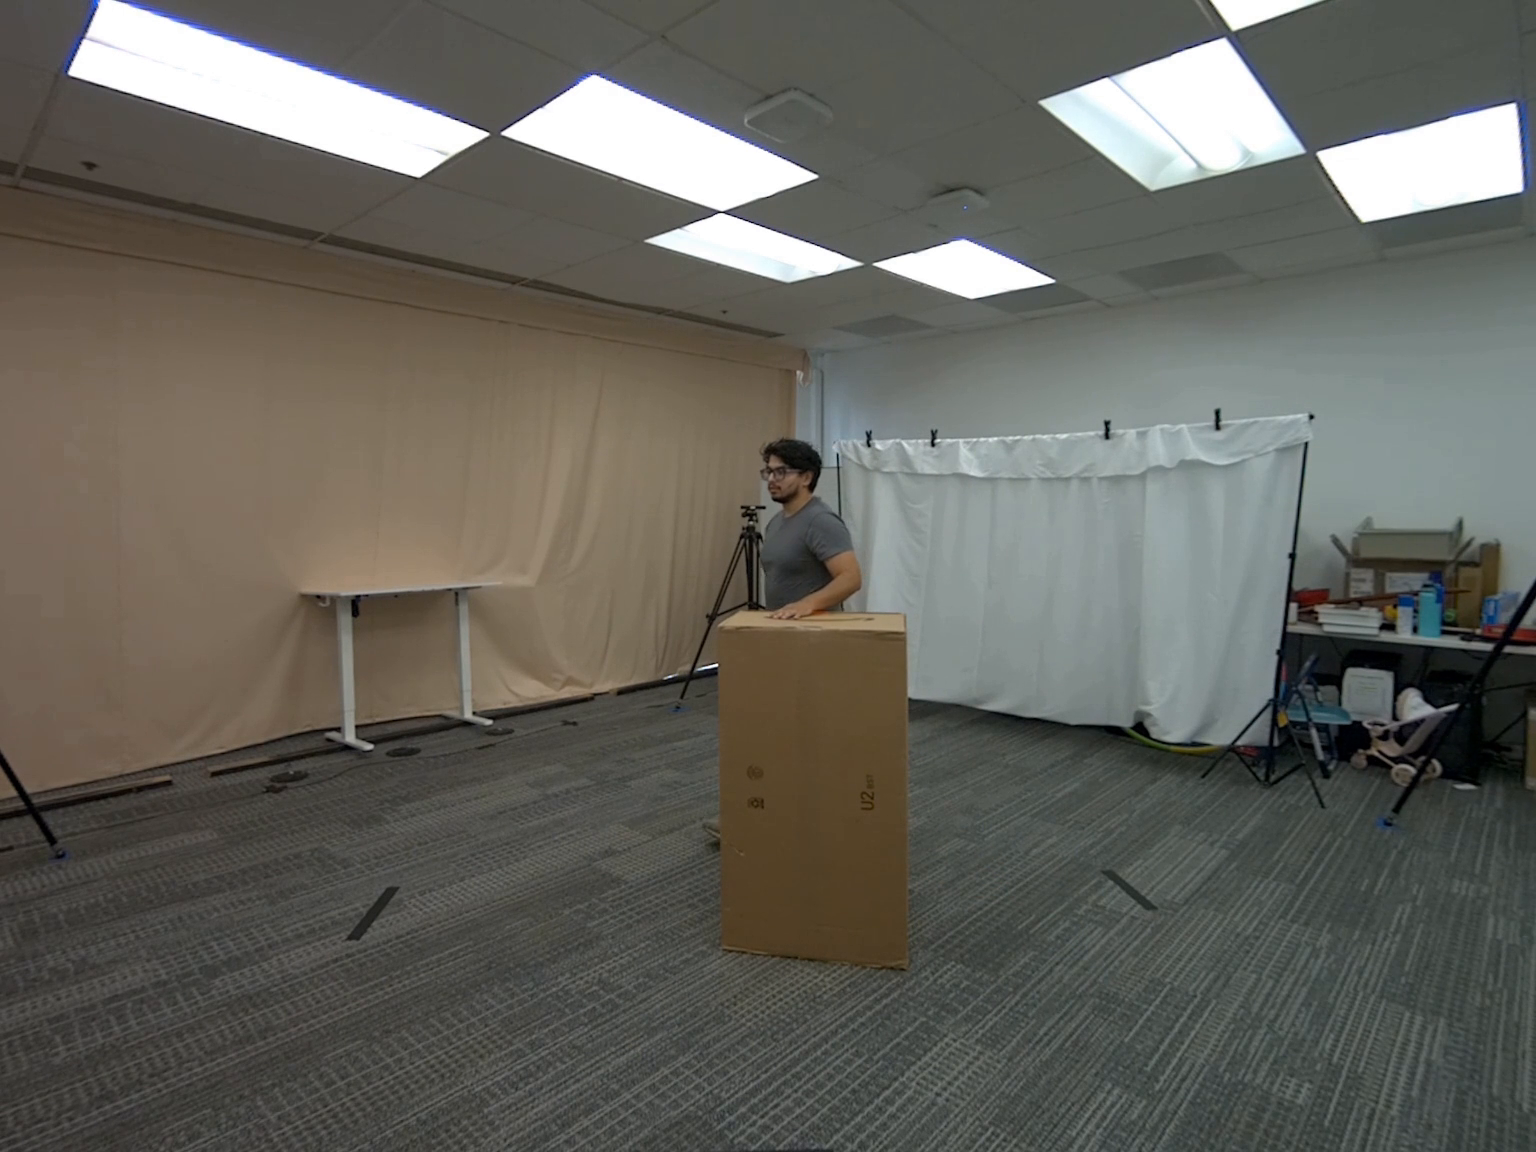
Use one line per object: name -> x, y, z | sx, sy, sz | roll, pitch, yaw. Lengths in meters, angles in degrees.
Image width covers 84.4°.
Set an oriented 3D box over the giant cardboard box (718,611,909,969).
giant cardboard box -> 0.169, 0.650, 2.764 | 0.585, 1.024, 0.421 | 0, 3, 11
